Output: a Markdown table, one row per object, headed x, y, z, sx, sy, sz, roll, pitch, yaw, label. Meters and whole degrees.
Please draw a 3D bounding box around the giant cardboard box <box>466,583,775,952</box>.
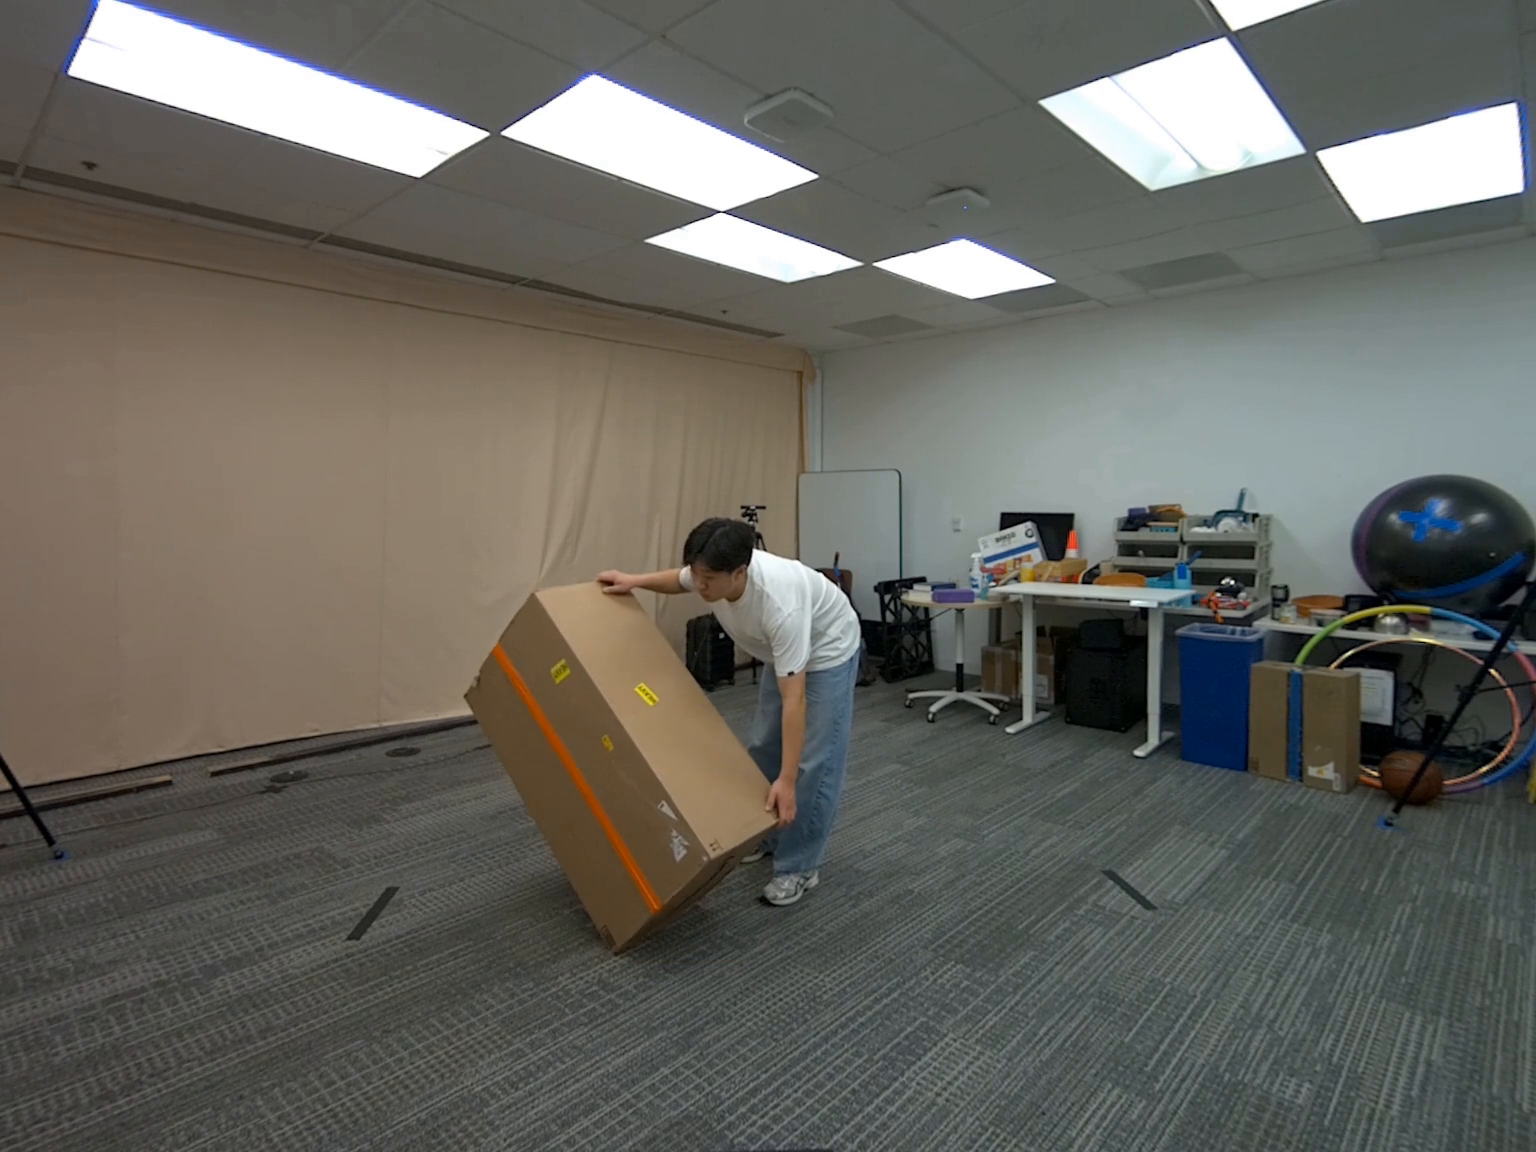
| x | y | z | sx | sy | sz | roll | pitch | yaw | label |
| --- | --- | --- | --- | --- | --- | --- | --- | --- | --- |
| -0.504 | 0.597 | 2.843 | 0.414 | 0.580 | 1.051 | -5 | 50 | -54 | giant cardboard box |
